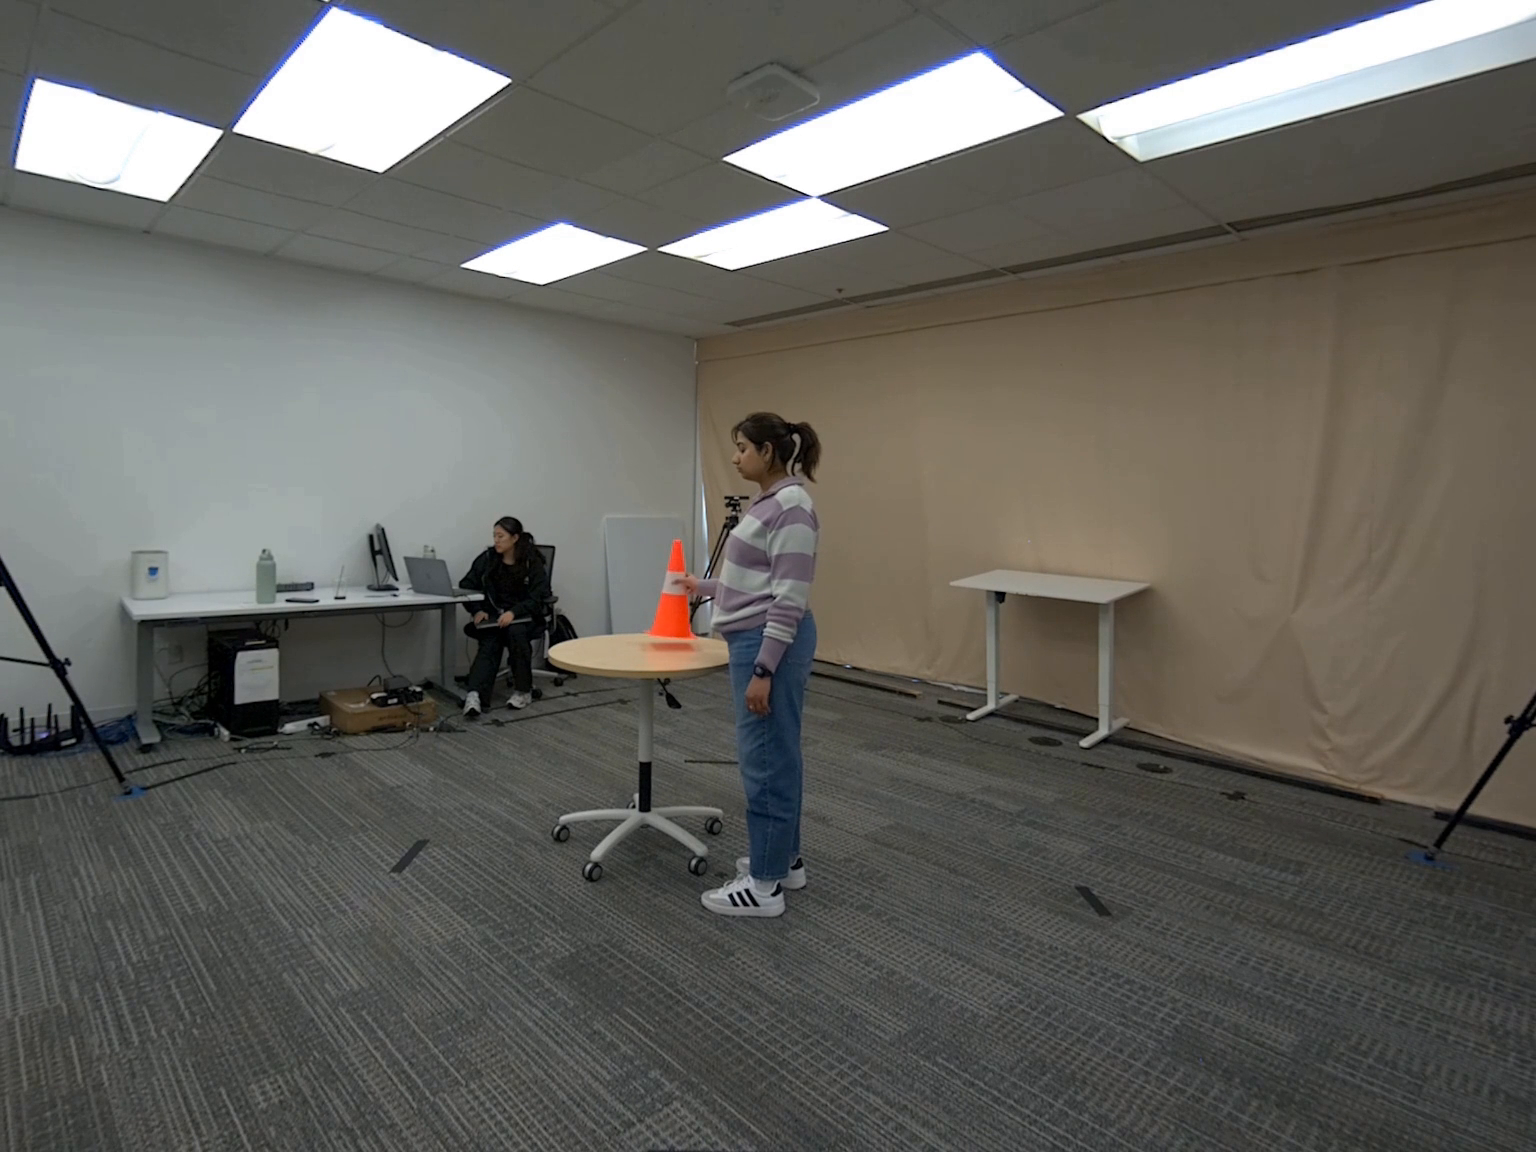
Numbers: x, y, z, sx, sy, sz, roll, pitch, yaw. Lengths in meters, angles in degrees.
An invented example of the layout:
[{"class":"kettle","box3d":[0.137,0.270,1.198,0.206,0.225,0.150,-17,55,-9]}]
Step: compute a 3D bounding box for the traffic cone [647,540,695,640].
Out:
[{"class":"traffic cone","box3d":[-0.380,0.053,3.387,0.203,0.383,0.206,4,3,-13]}]
